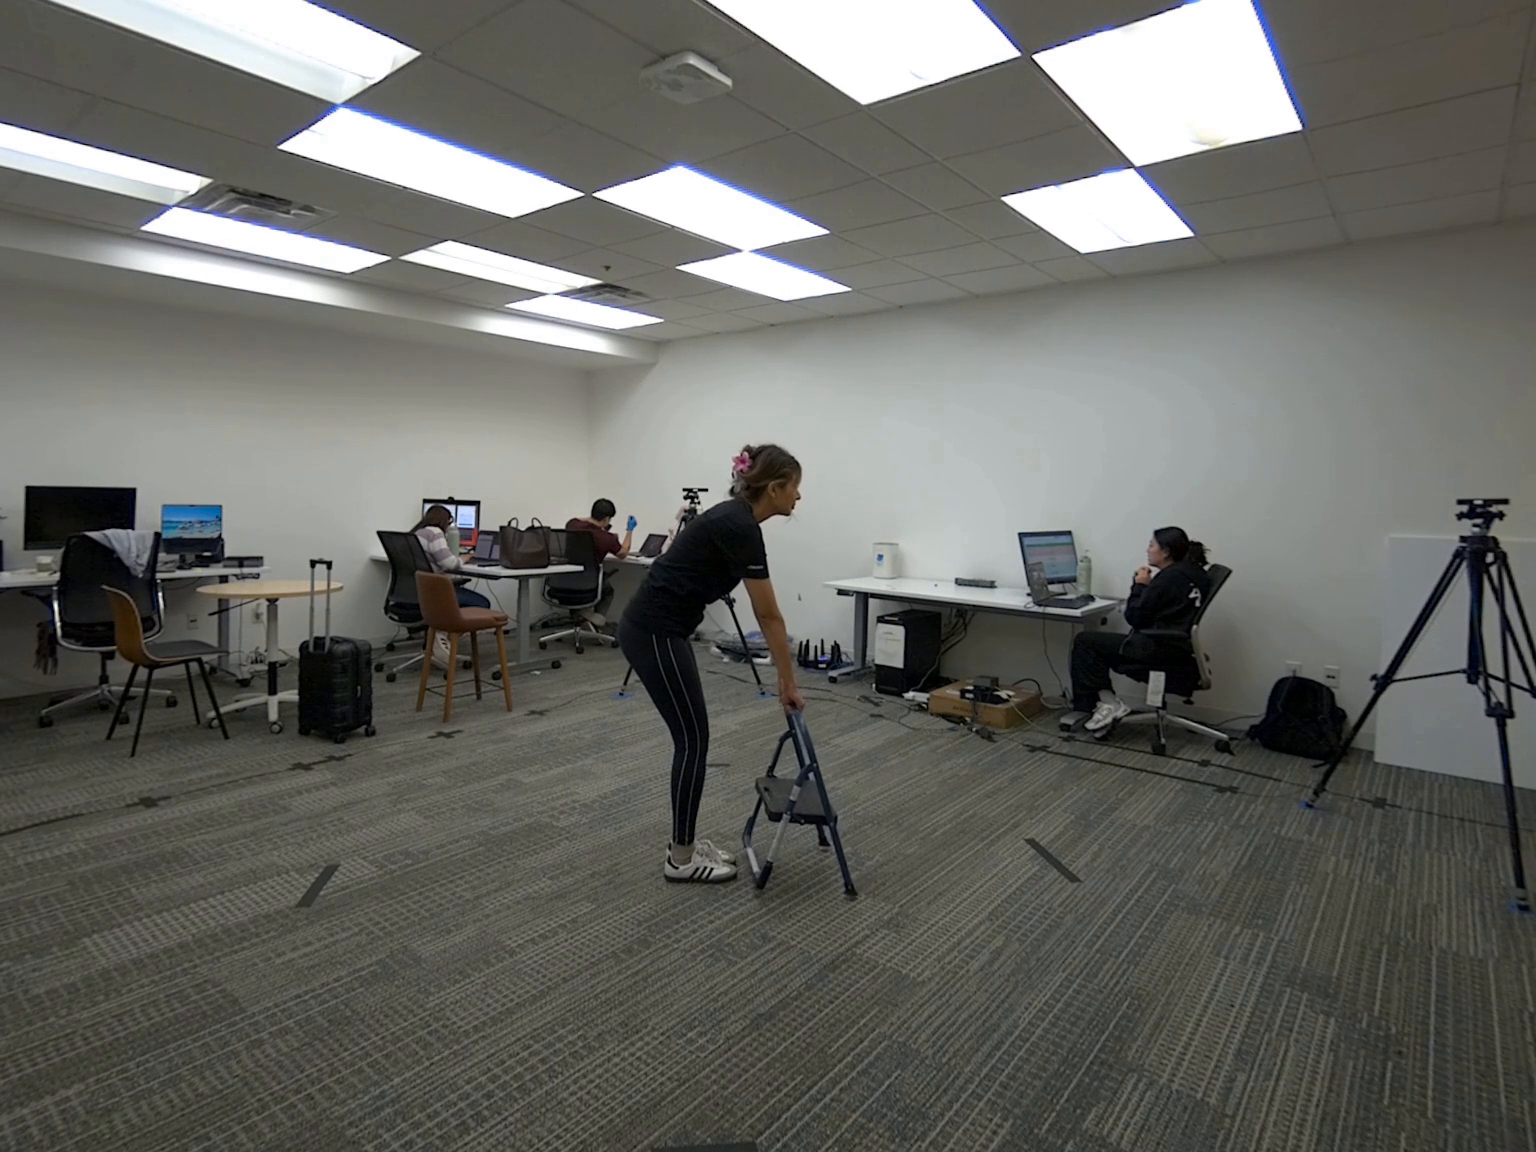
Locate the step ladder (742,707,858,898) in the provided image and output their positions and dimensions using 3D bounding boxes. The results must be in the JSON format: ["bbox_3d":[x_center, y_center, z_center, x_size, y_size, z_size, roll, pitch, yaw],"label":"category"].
[{"bbox_3d":[0.123,0.753,3.071,0.346,0.605,0.436,5,3,-10],"label":"step ladder"}]
